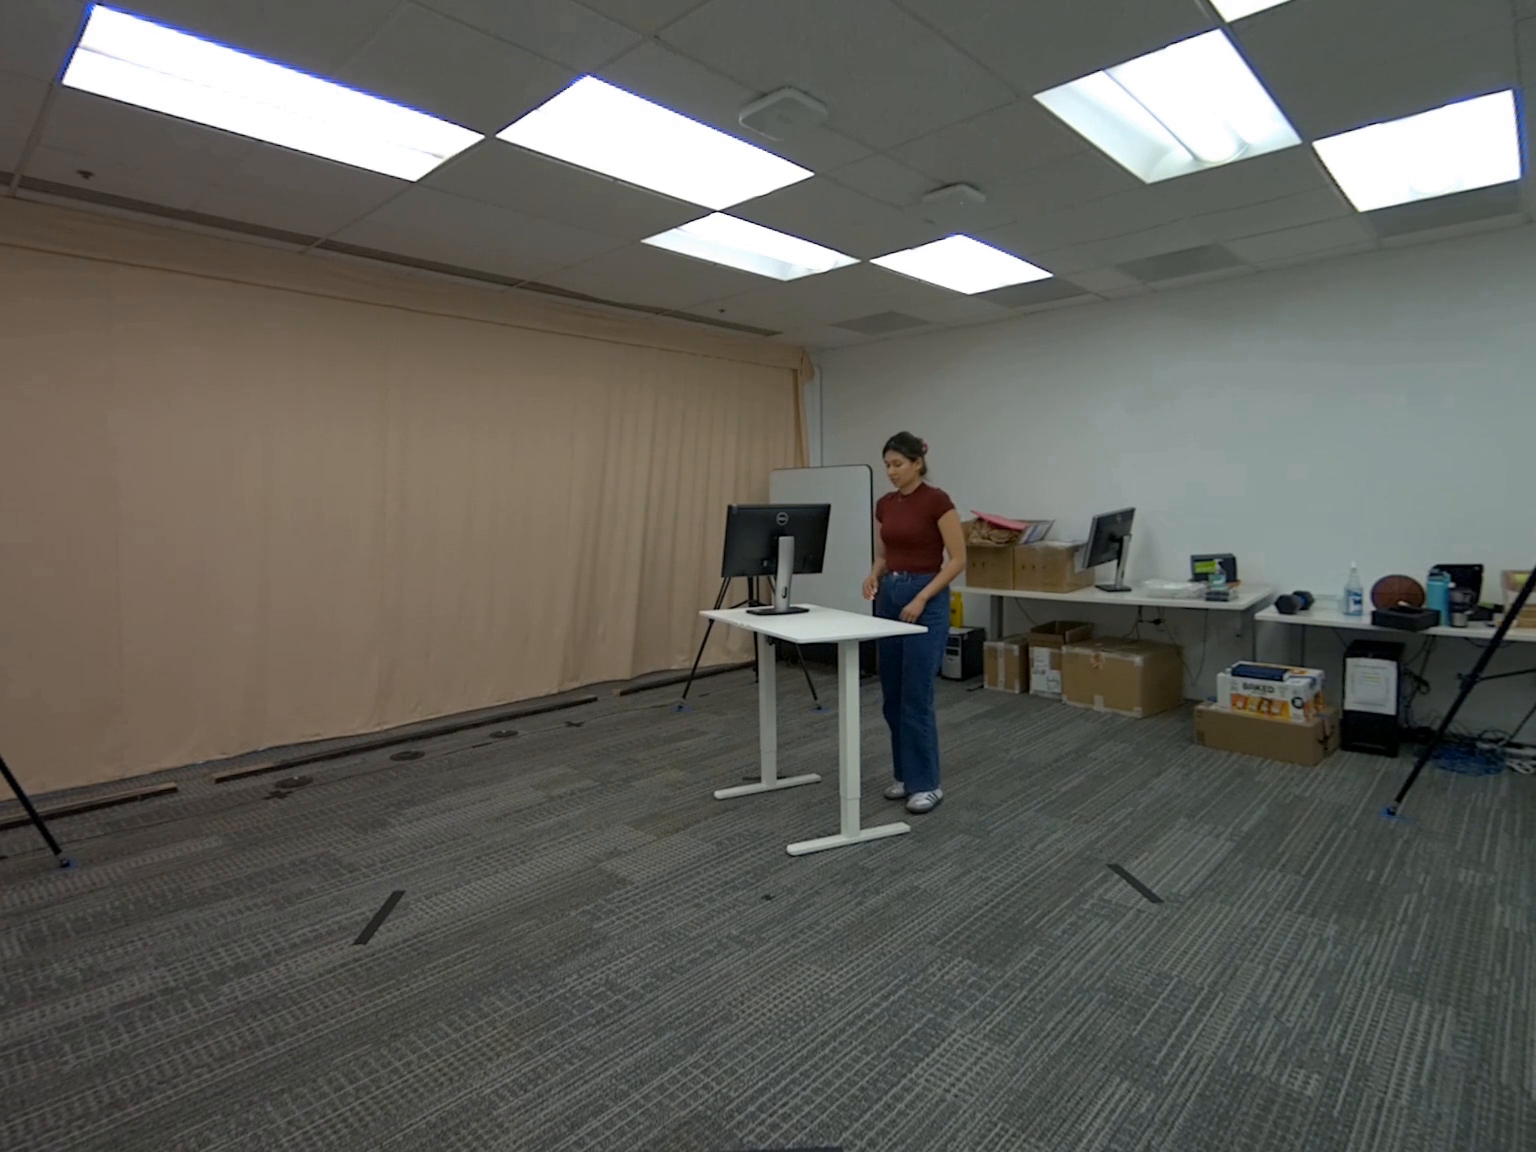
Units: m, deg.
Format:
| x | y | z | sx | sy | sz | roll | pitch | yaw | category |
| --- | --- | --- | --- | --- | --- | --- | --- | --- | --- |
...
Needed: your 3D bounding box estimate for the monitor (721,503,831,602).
| x | y | z | sx | sy | sz | roll | pitch | yaw | category |
| --- | --- | --- | --- | --- | --- | --- | --- | --- | --- |
| 0.054 | -0.077 | 3.972 | 0.527 | 0.521 | 0.192 | -3 | 6 | -24 | monitor |
